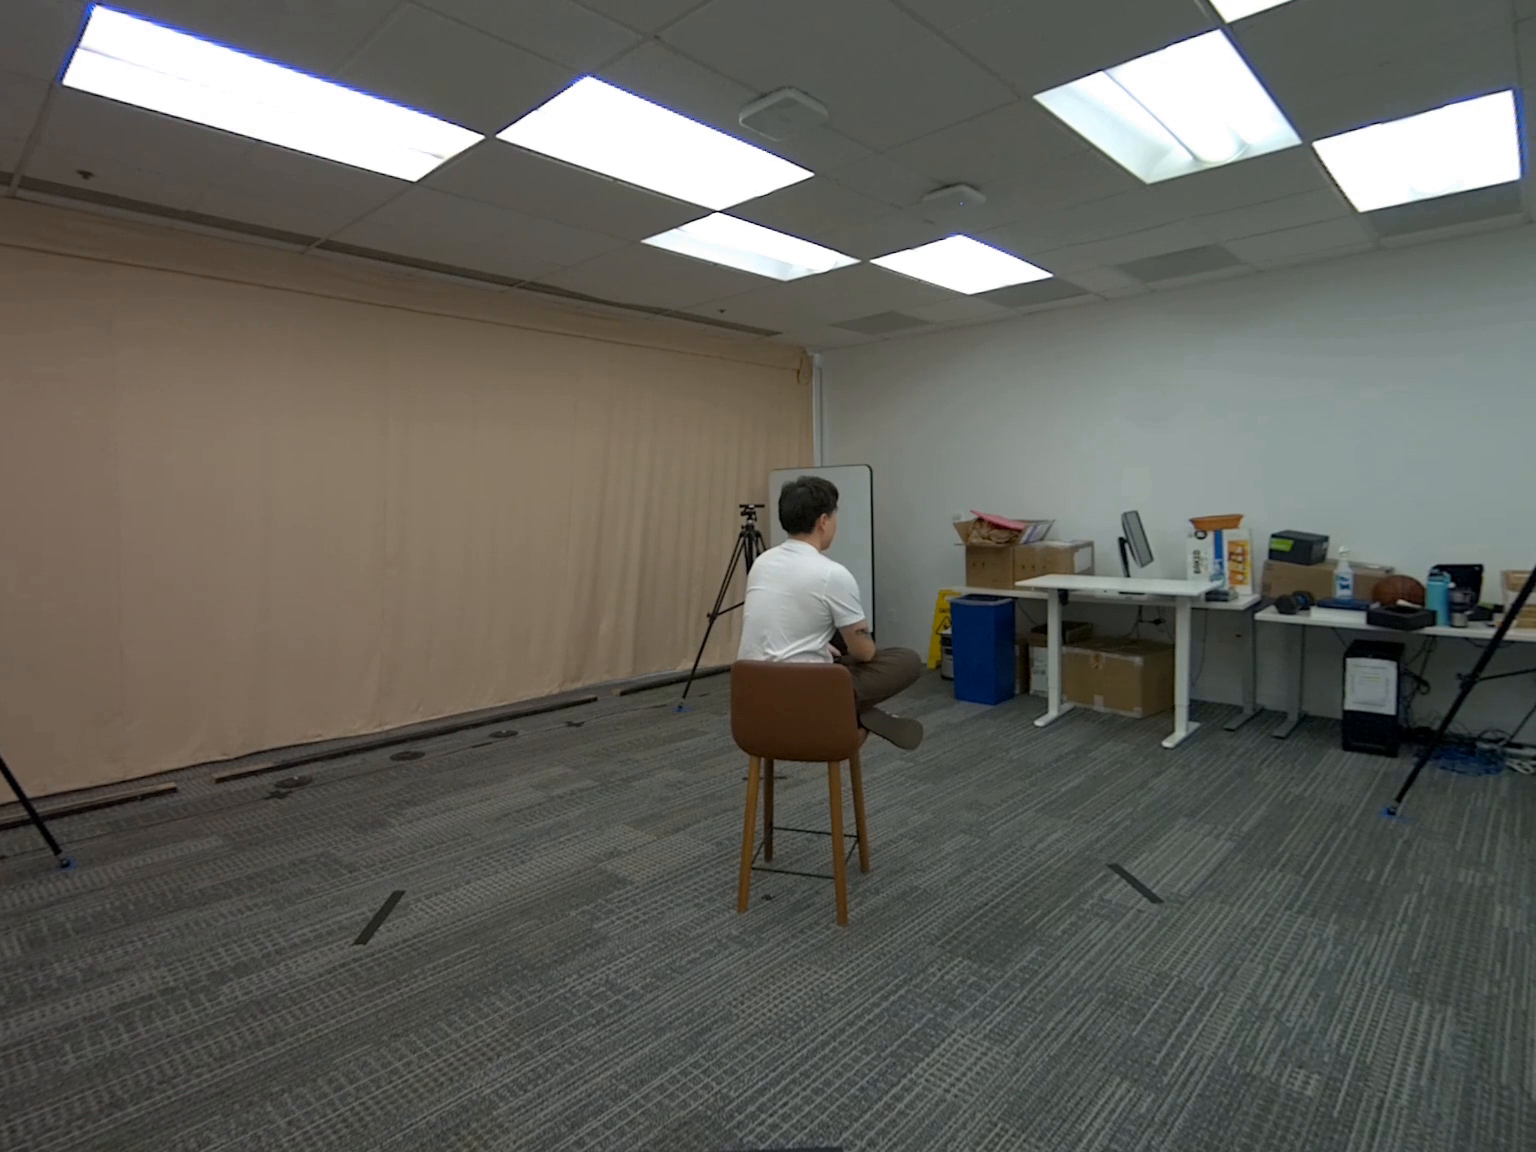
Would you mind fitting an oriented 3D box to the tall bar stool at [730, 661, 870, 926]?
[{"bbox_3d":[0.125,0.706,3.005,0.466,0.886,0.460,0,6,18],"label":"tall bar stool"}]
